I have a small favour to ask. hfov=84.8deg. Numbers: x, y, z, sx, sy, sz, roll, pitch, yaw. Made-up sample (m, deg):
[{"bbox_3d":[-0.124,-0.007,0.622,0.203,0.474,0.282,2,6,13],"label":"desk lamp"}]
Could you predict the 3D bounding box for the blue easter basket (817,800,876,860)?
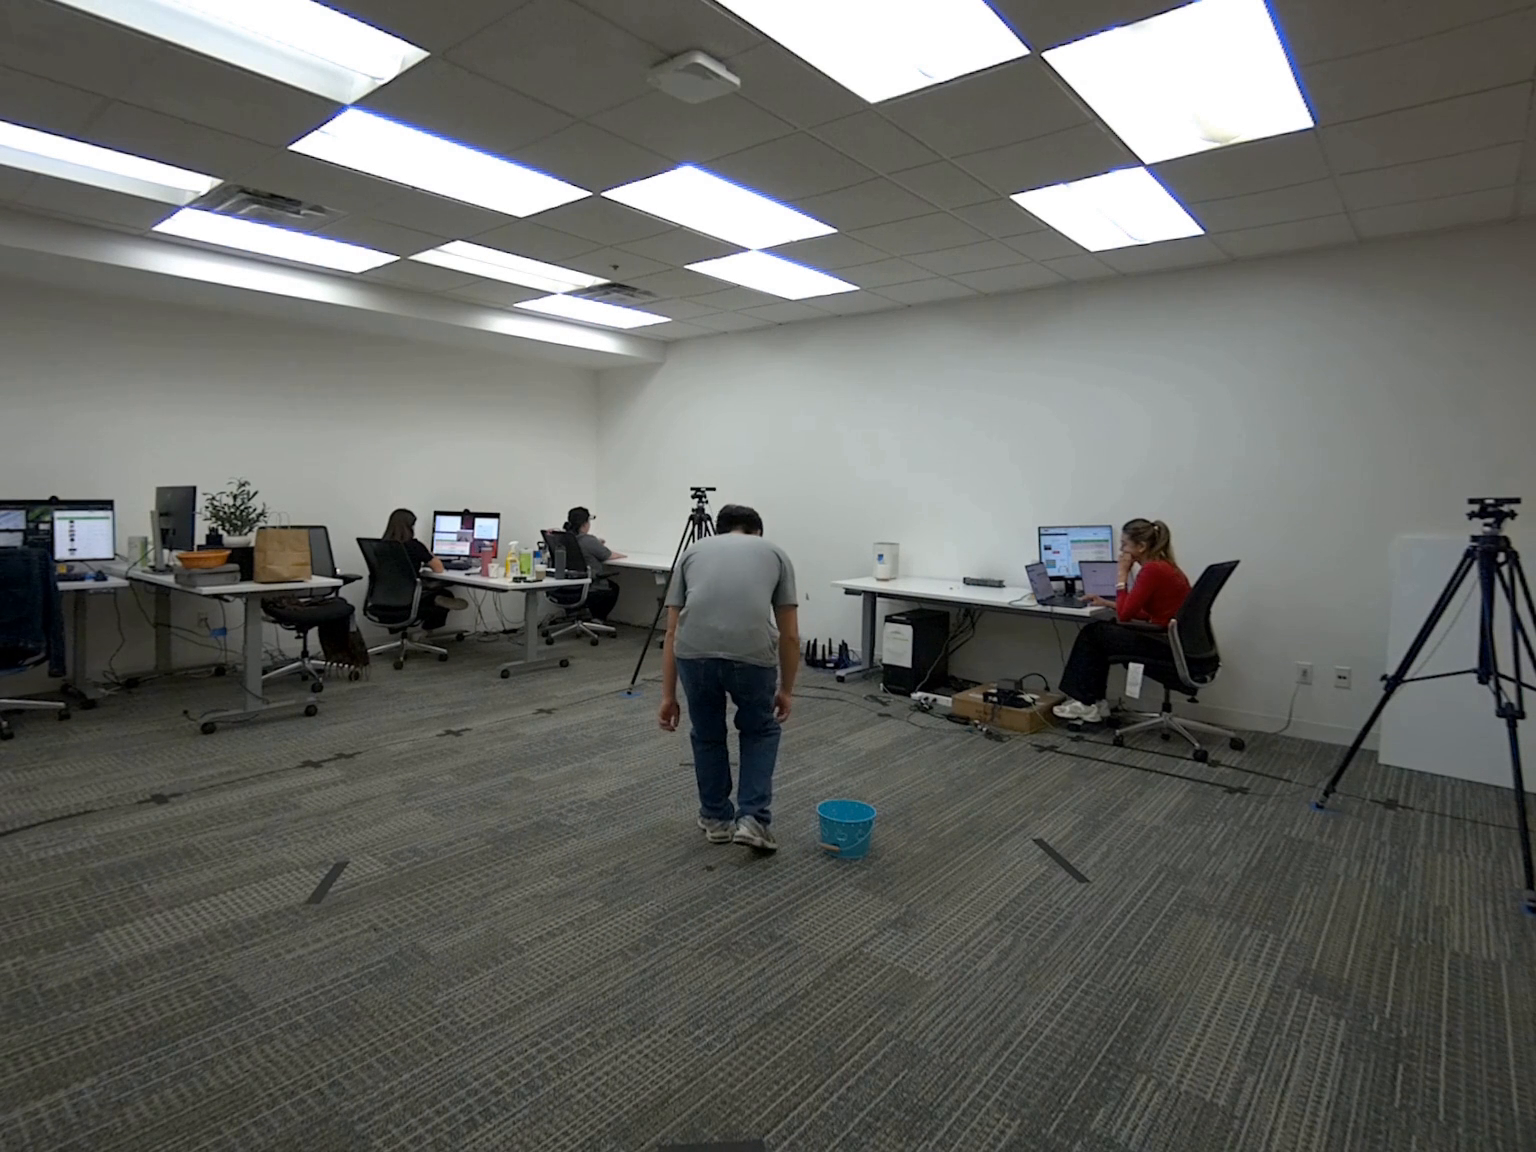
[{"bbox_3d":[0.289,0.982,3.305,0.243,0.155,0.245,1,5,-2],"label":"blue easter basket"}]
